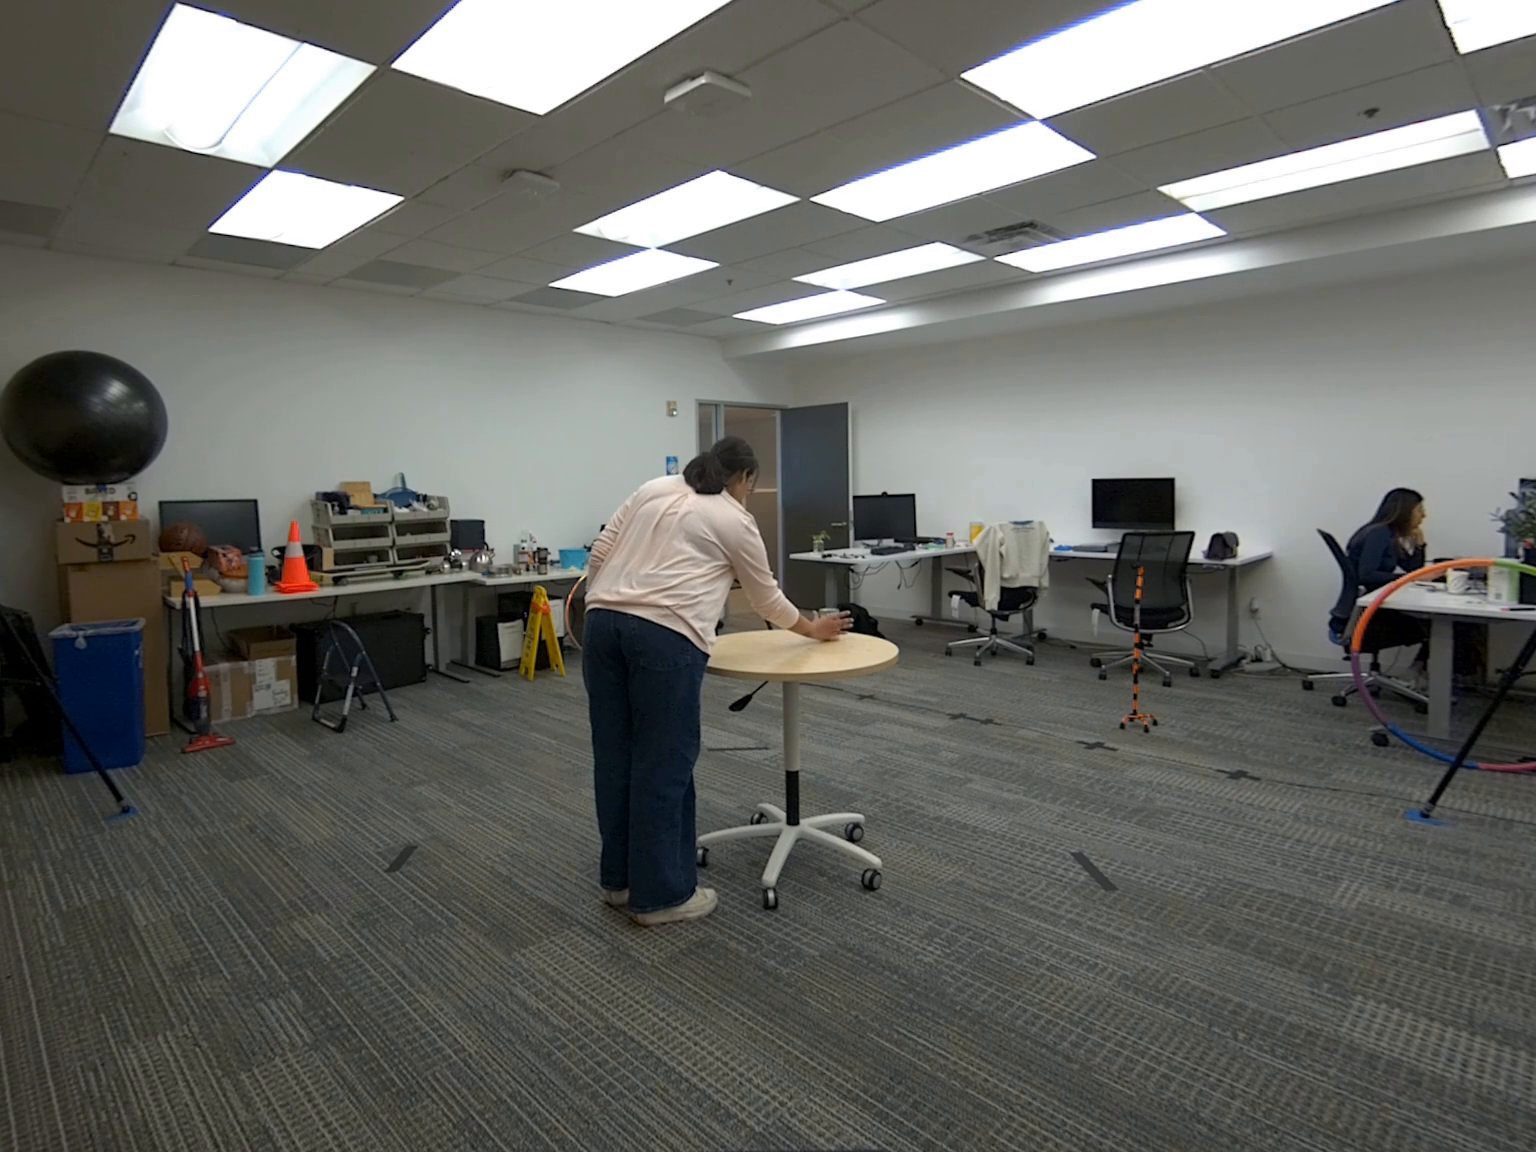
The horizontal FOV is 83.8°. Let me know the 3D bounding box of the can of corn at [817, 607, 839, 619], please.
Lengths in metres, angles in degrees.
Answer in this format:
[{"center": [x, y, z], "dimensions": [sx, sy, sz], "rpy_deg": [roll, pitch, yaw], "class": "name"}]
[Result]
[{"center": [0.245, 0.184, 3.221], "dimensions": [0.074, 0.110, 0.074], "rpy_deg": [2, 6, -2], "class": "can of corn"}]
